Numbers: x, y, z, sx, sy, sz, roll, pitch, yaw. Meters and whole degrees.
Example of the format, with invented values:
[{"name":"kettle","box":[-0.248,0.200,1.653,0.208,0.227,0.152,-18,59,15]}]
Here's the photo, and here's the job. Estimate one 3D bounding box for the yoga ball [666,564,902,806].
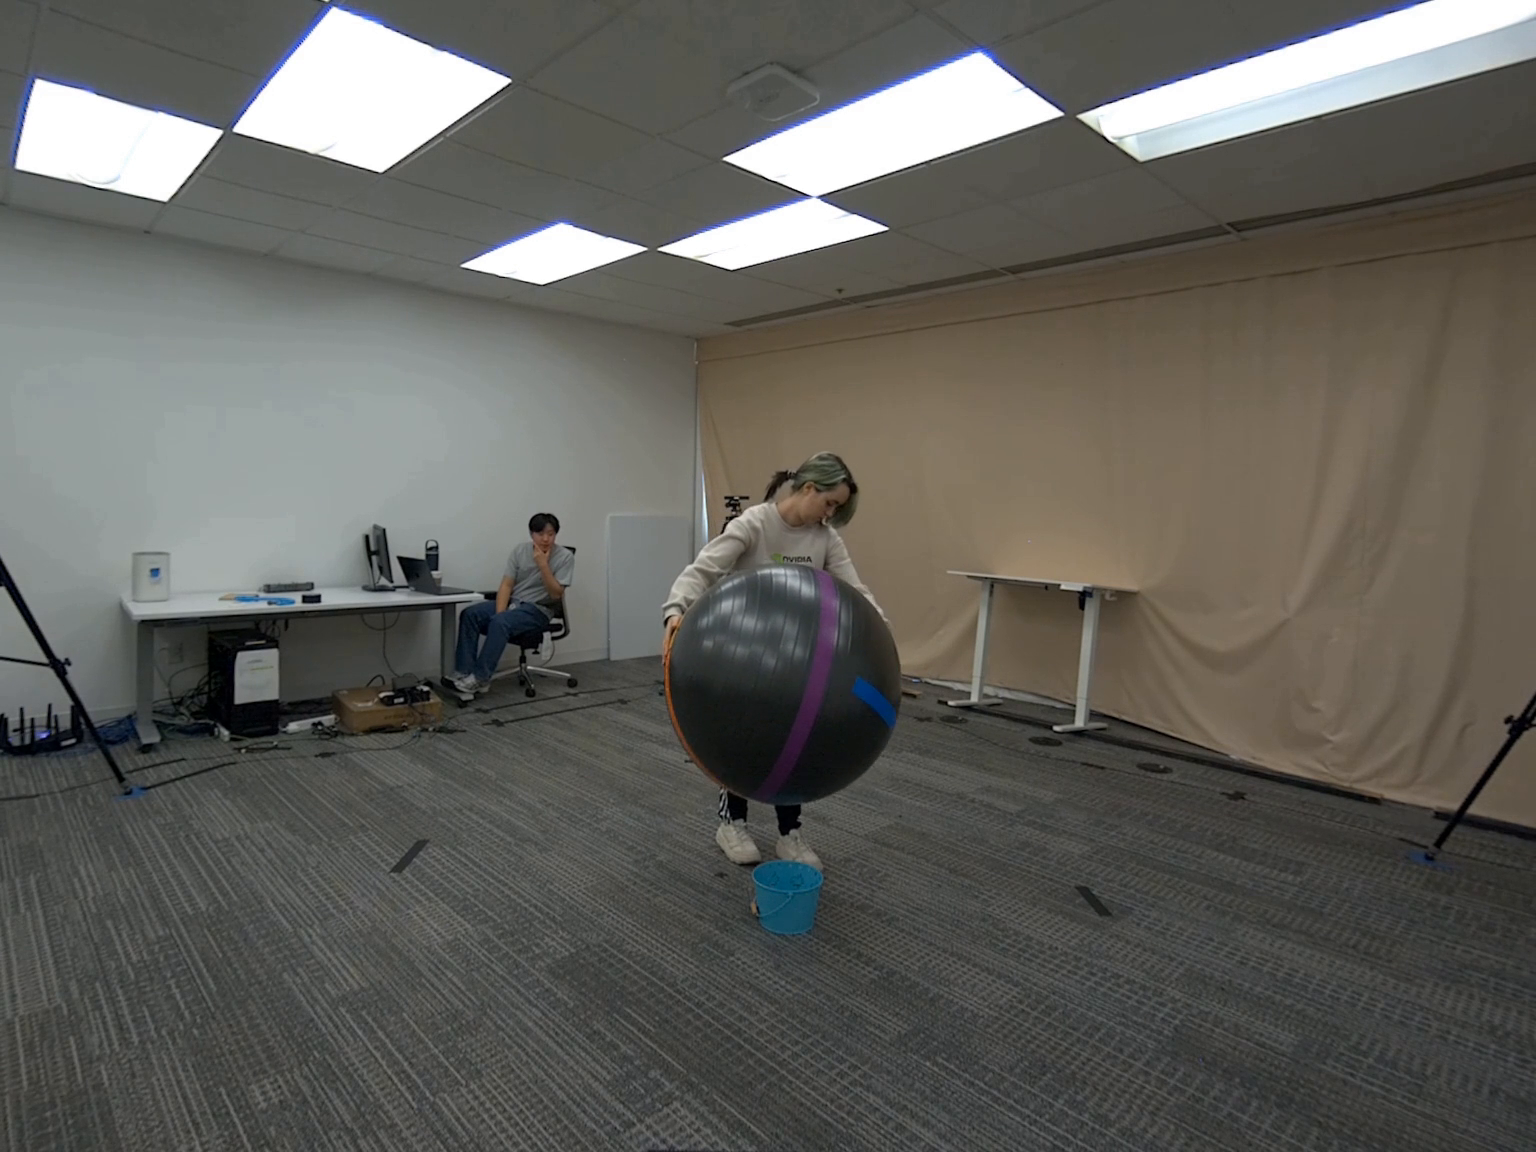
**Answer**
[{"name":"yoga ball","box":[0.047,0.346,2.698,0.757,0.756,0.761,1,4,-1]}]
